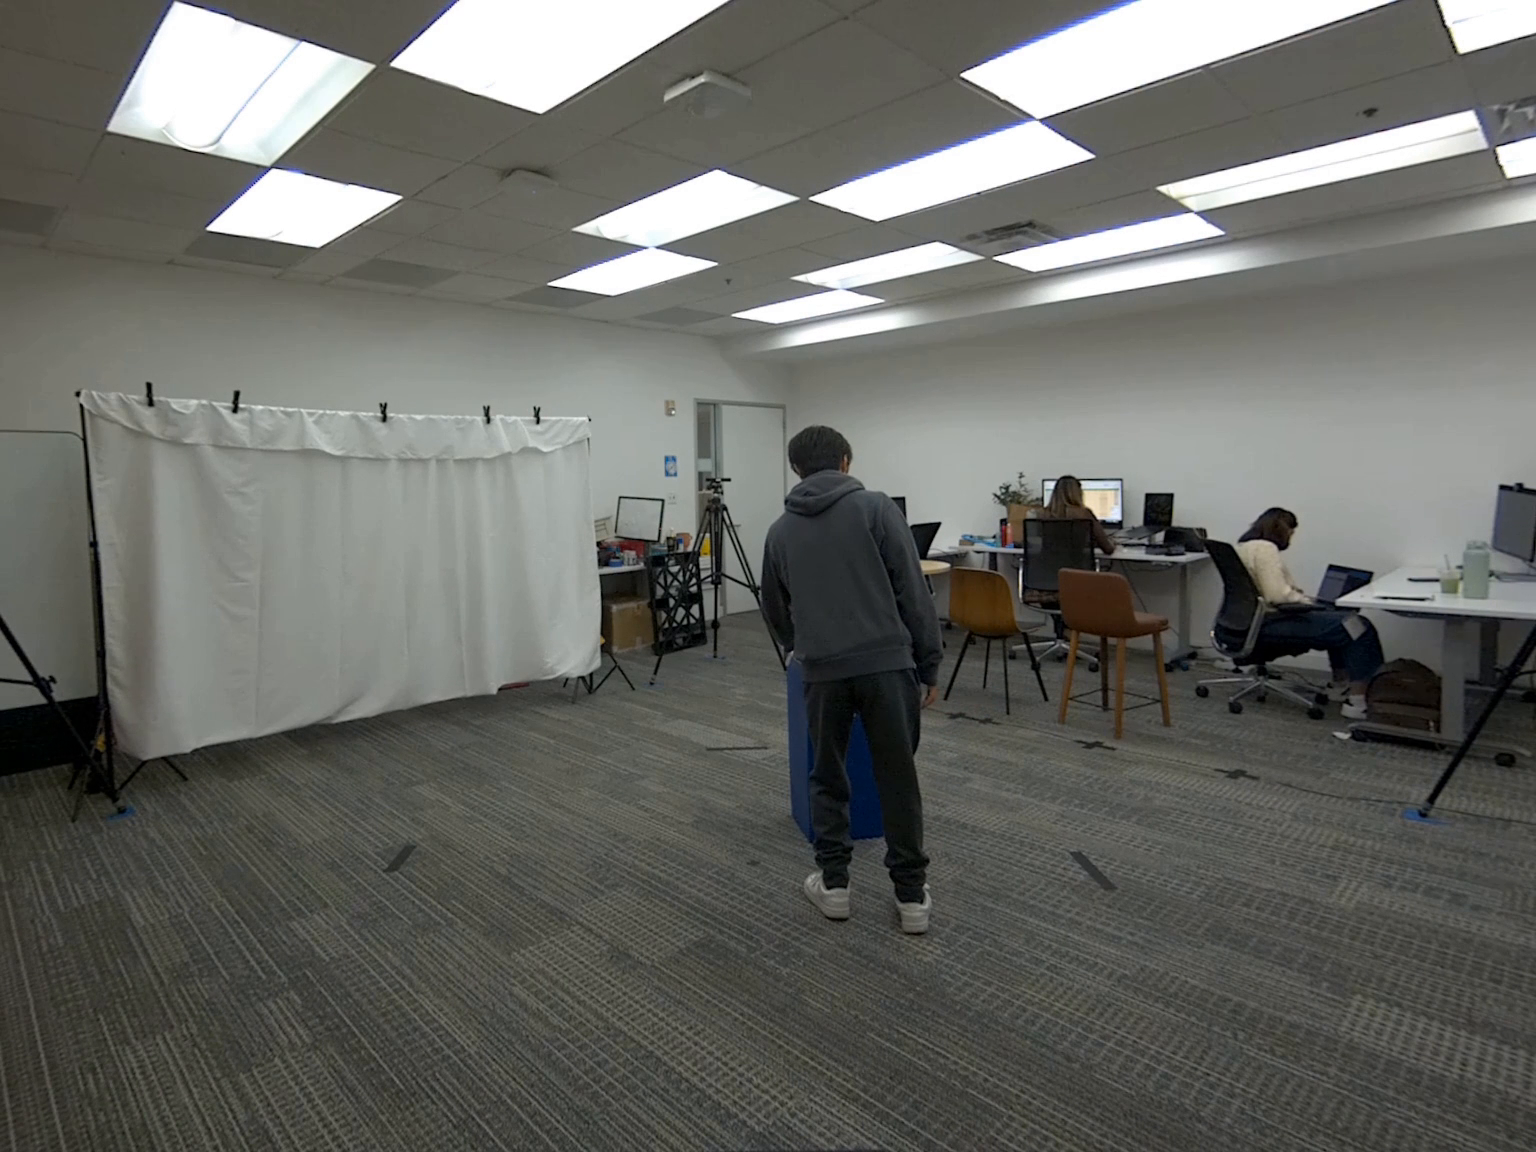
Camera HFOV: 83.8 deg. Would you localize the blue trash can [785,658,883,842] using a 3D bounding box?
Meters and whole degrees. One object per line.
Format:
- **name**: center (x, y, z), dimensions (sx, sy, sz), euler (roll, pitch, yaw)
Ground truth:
- **blue trash can**: center (0.284, 0.649, 3.415), dimensions (0.370, 0.711, 0.383), euler (-1, 4, -11)
